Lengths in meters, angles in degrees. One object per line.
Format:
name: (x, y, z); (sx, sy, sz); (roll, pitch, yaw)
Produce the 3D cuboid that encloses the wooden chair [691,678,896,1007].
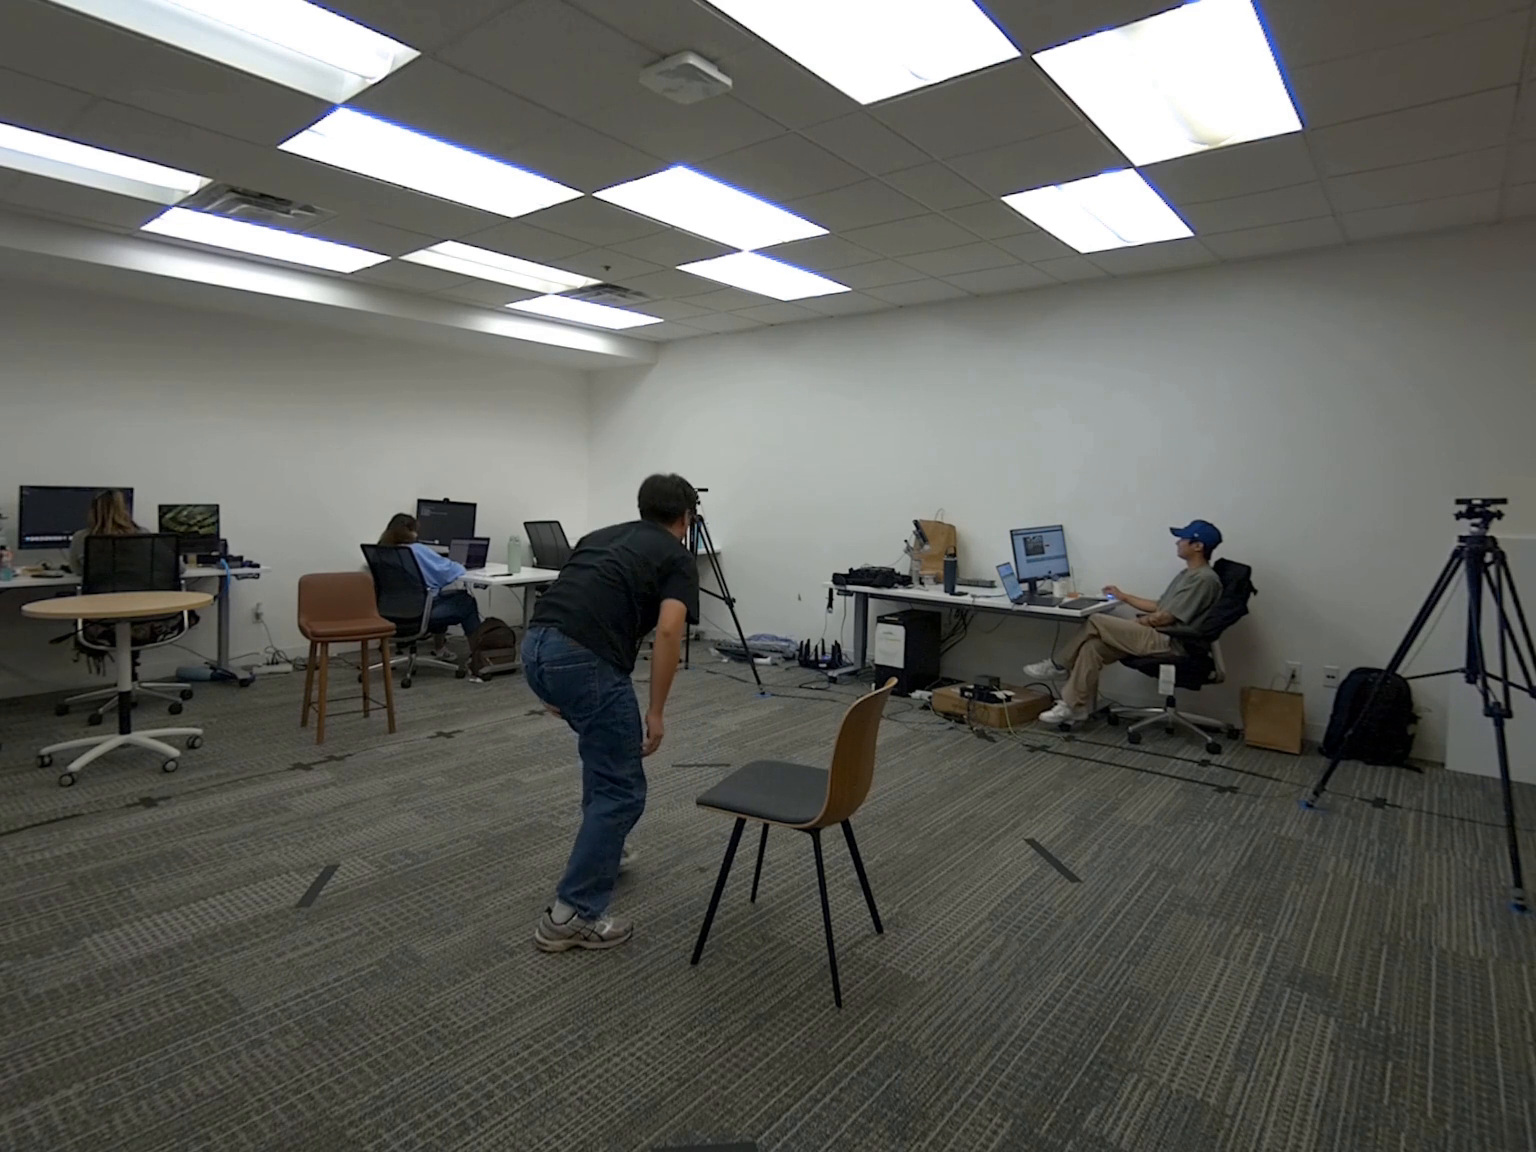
wooden chair: (0.067, 0.702, 2.561); (0.537, 0.874, 0.467); (8, 5, 24)
